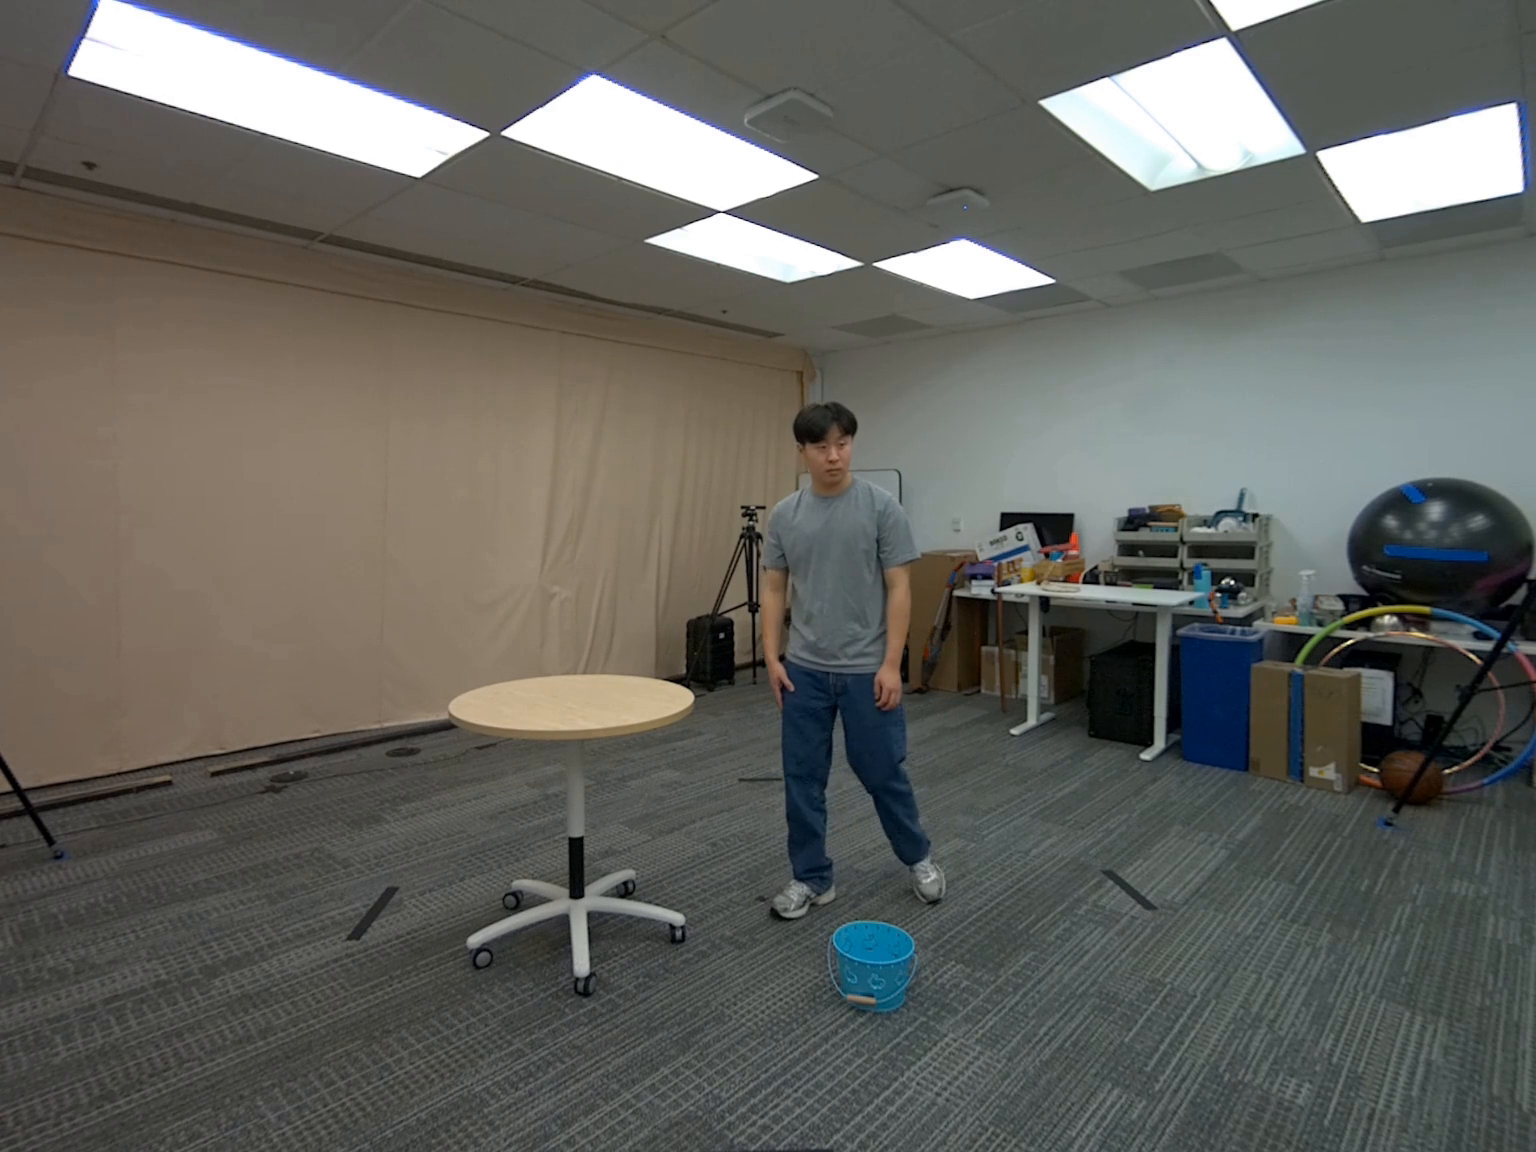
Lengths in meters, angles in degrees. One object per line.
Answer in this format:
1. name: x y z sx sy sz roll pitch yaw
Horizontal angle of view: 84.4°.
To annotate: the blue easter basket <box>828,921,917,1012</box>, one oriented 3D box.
1. blue easter basket: 0.301 1.115 2.395 0.243 0.155 0.244 0 4 -2
